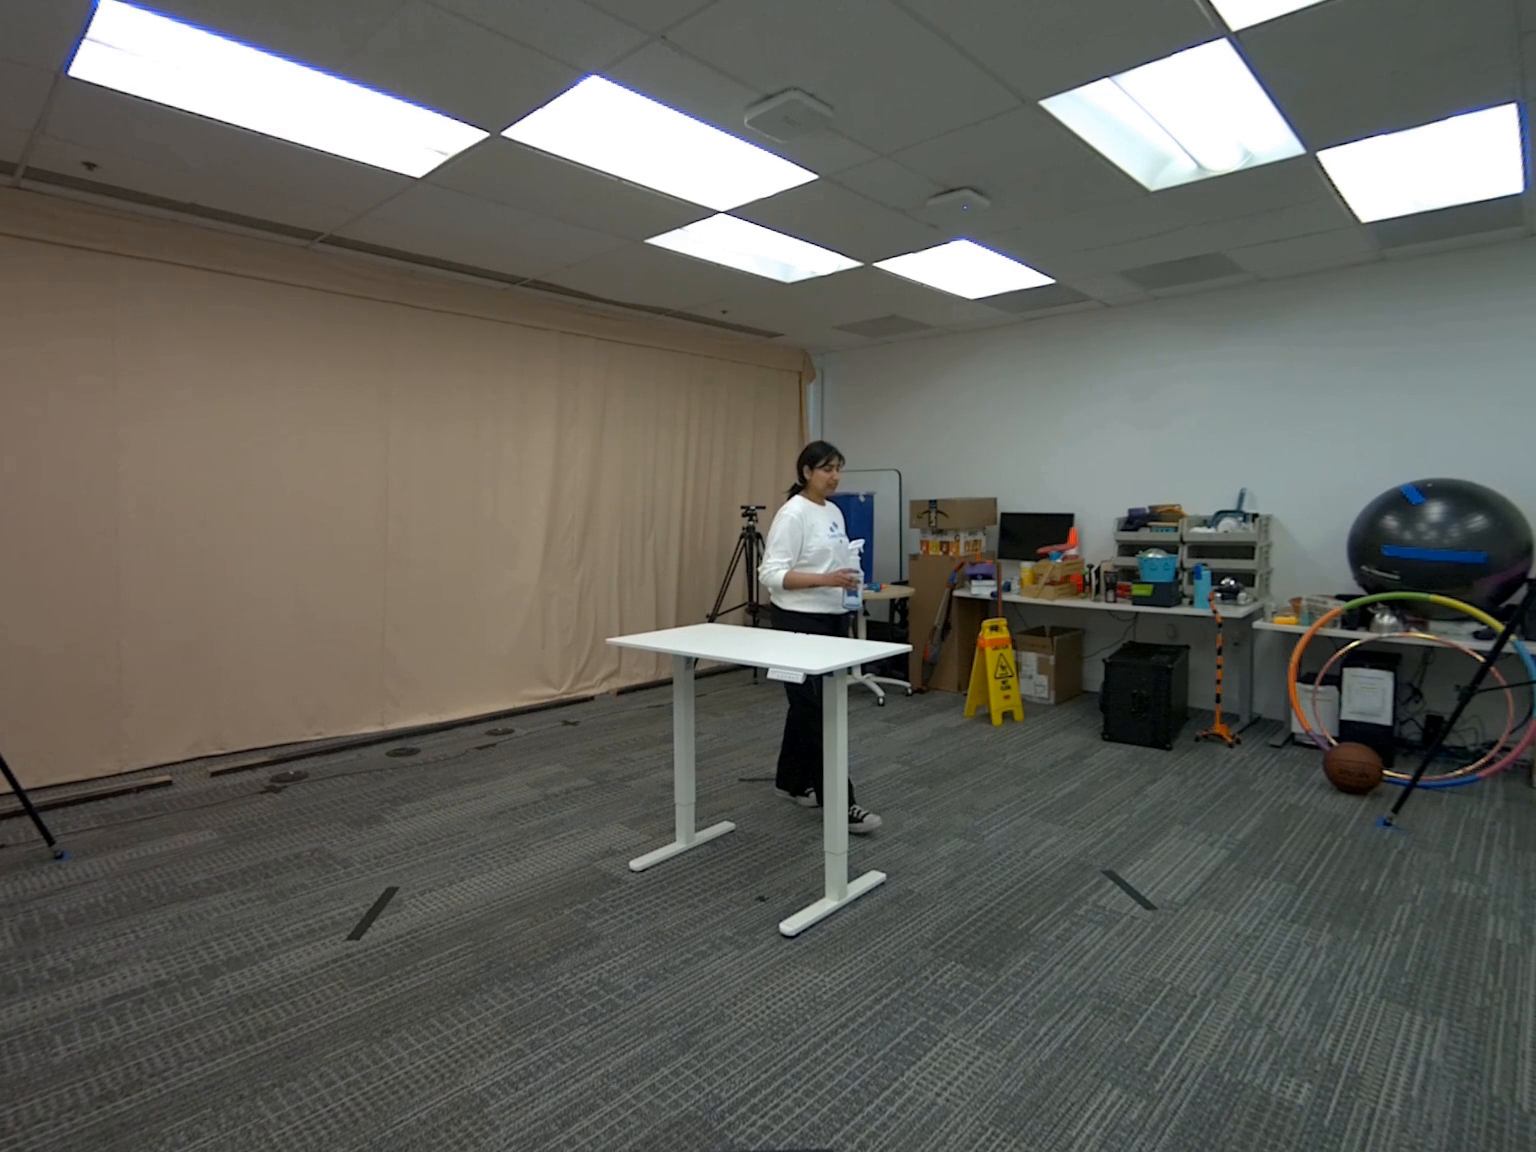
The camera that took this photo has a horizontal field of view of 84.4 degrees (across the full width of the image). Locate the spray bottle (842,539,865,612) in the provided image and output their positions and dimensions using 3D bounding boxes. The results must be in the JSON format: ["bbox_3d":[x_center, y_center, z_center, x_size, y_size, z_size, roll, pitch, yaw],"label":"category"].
[{"bbox_3d":[0.373,-0.006,3.599,0.089,0.295,0.089,-3,11,-13],"label":"spray bottle"}]
